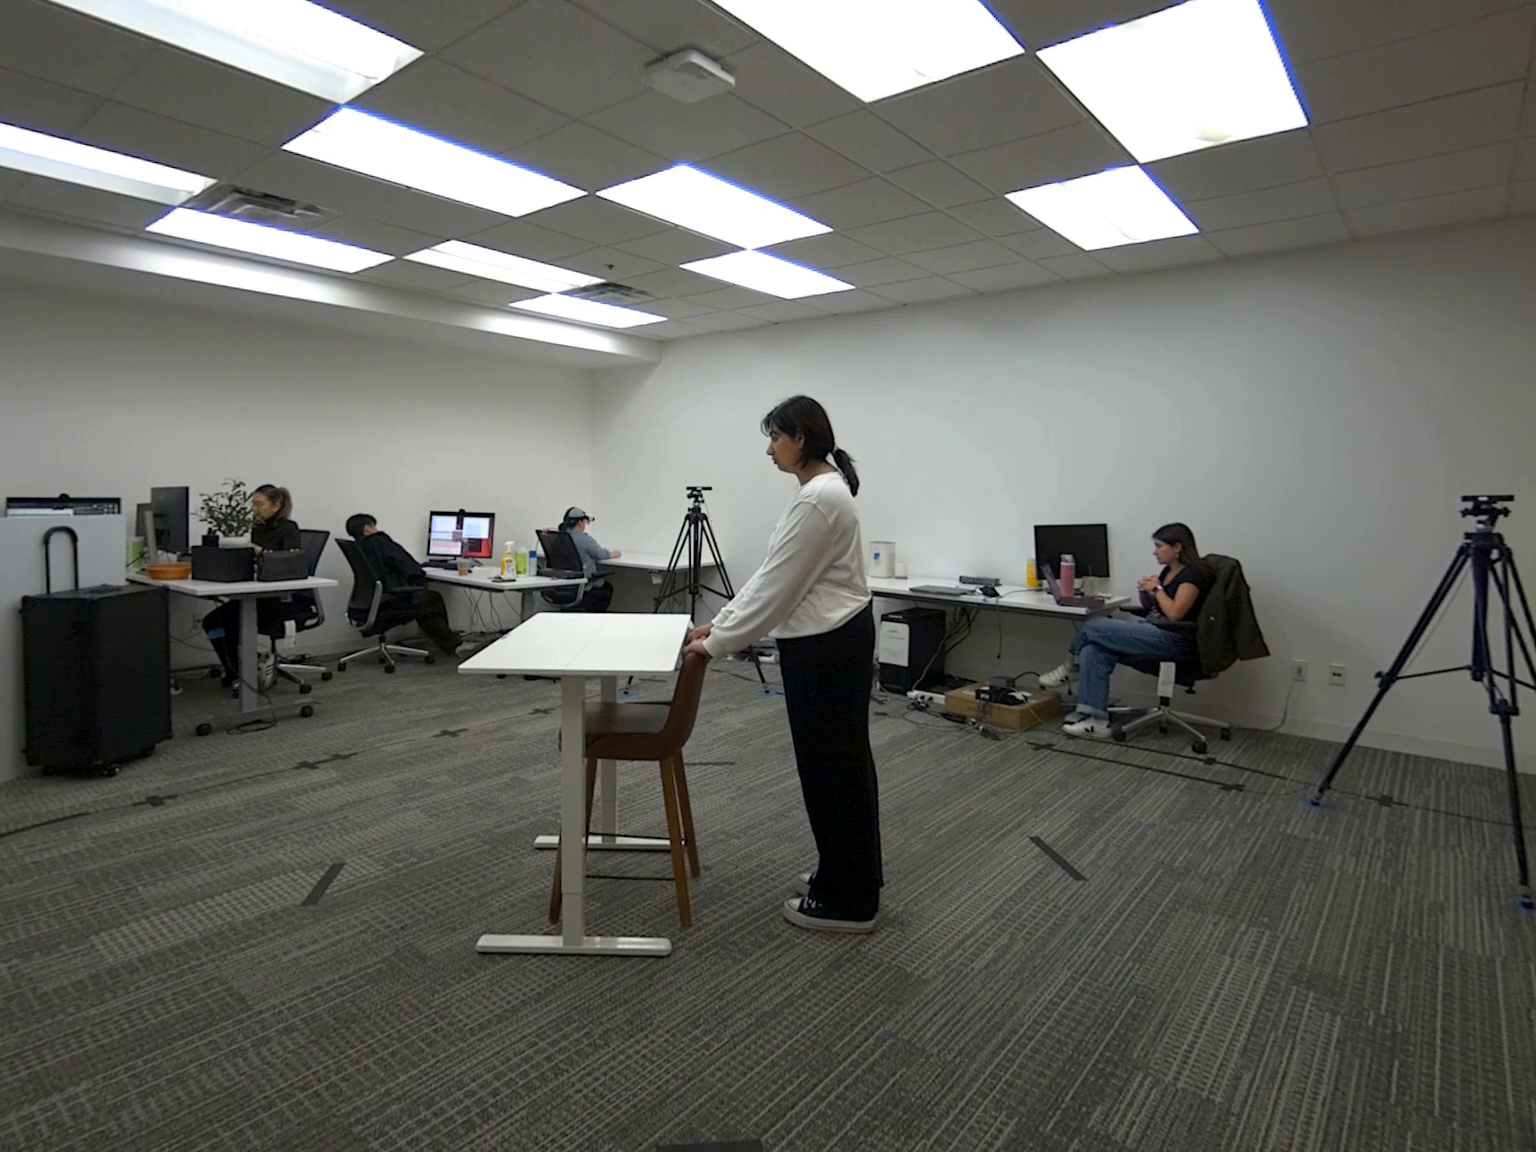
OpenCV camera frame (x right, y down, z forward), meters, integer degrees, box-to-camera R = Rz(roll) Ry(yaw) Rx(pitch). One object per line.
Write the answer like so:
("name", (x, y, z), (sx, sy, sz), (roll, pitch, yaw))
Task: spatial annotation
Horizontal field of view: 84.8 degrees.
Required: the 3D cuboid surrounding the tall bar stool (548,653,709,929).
("tall bar stool", (-0.455, 0.658, 2.851), (0.470, 0.887, 0.456), (3, 3, 3))
